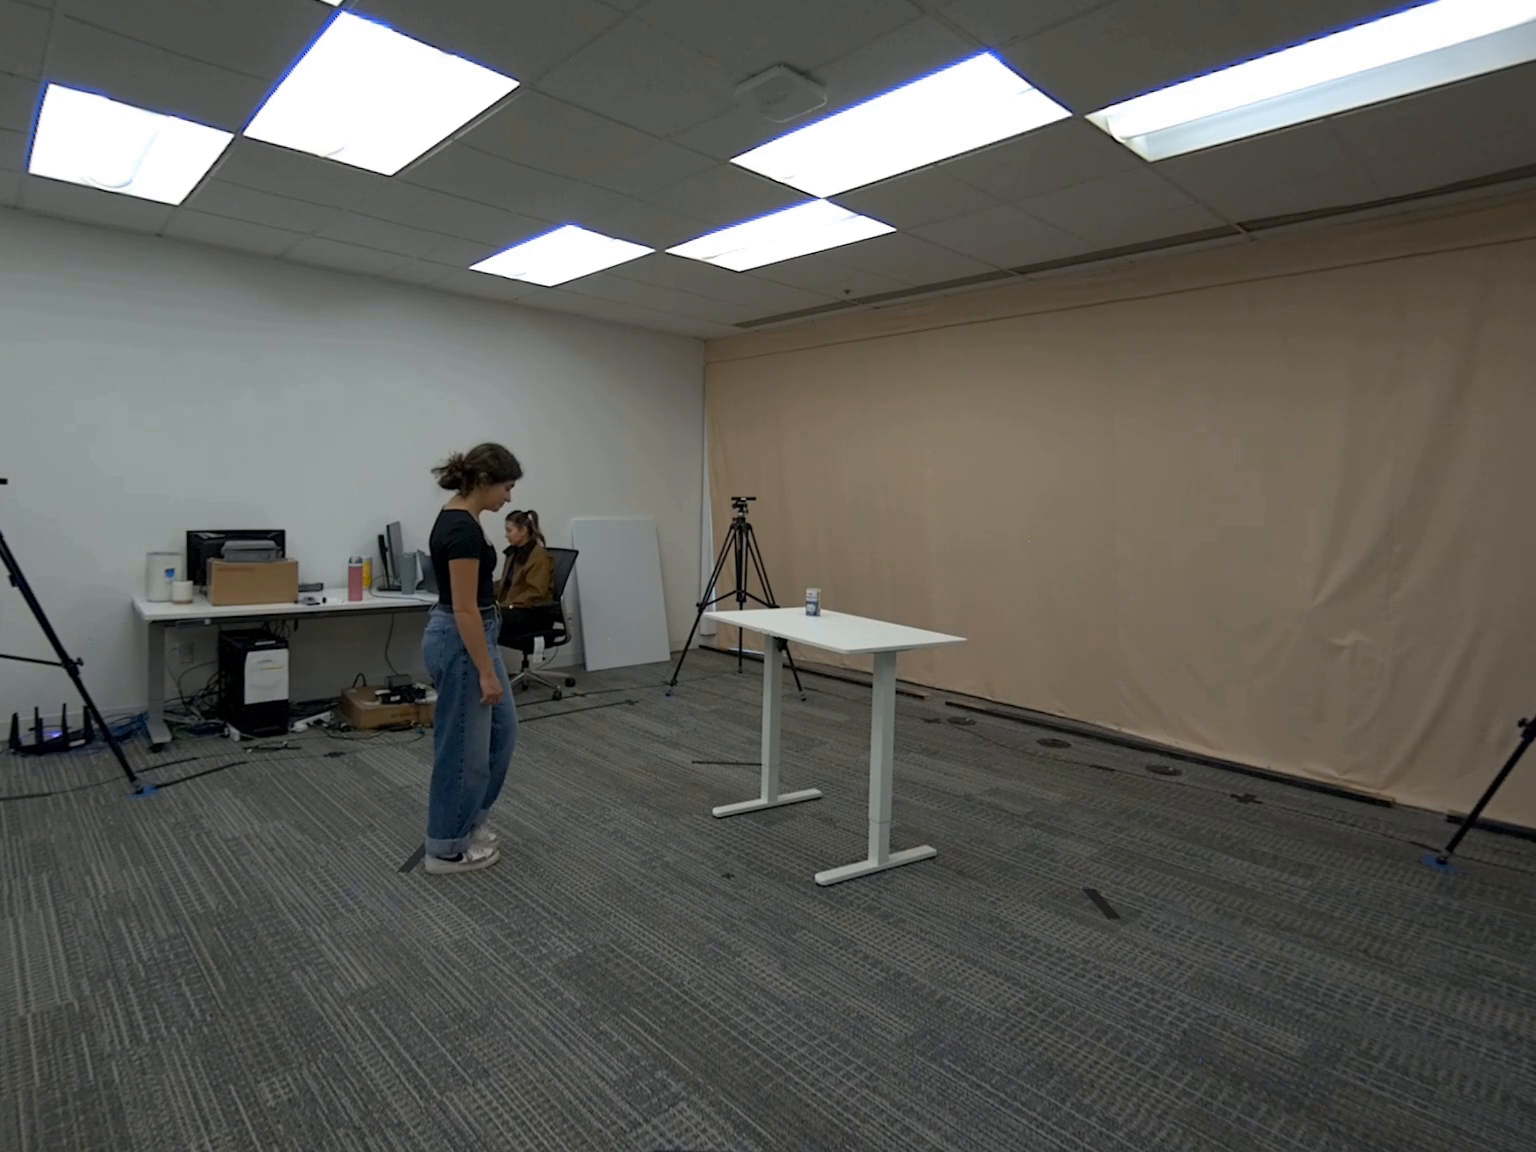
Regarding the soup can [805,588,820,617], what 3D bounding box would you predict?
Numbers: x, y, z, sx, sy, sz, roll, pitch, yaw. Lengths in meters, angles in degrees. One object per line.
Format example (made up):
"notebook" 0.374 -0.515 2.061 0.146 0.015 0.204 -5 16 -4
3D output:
"soup can" 0.193 0.120 3.754 0.067 0.121 0.067 1 0 -1
